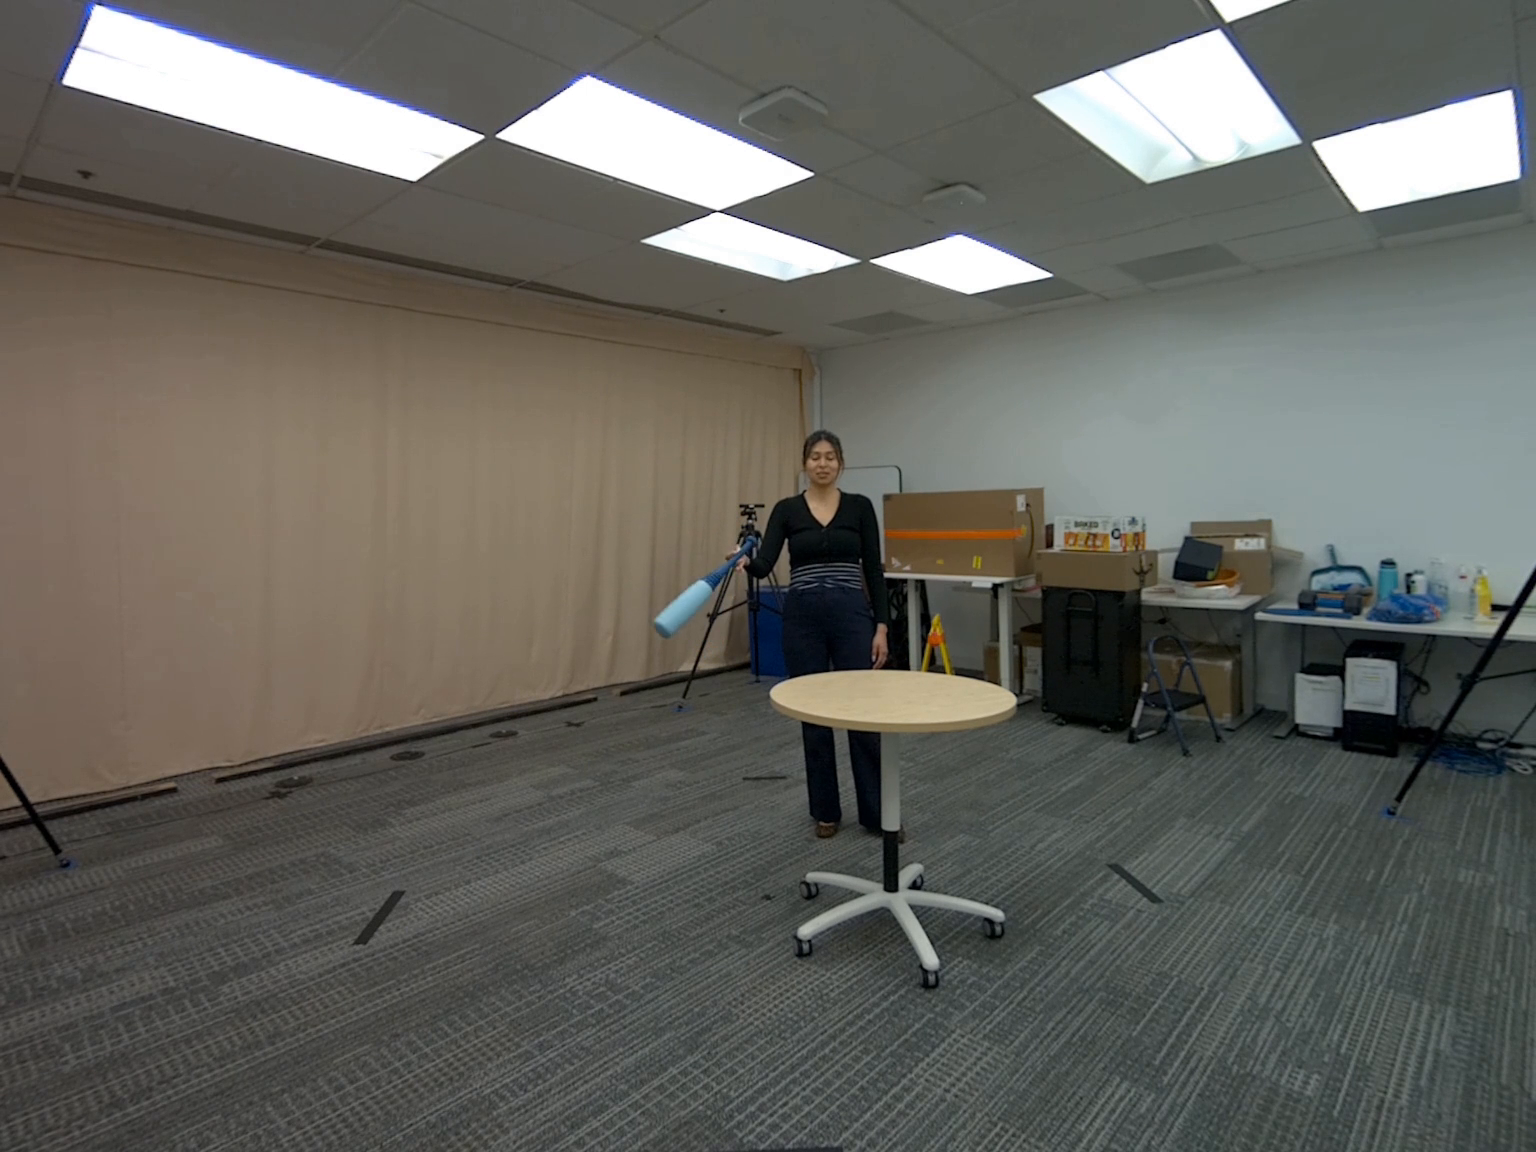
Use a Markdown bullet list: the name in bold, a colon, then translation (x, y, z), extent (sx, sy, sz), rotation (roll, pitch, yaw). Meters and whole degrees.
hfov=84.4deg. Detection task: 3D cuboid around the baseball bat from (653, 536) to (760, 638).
- **baseball bat**: translation (-0.216, 0.013, 3.102), extent (0.538, 0.087, 0.092), rotation (-44, 28, -28)
